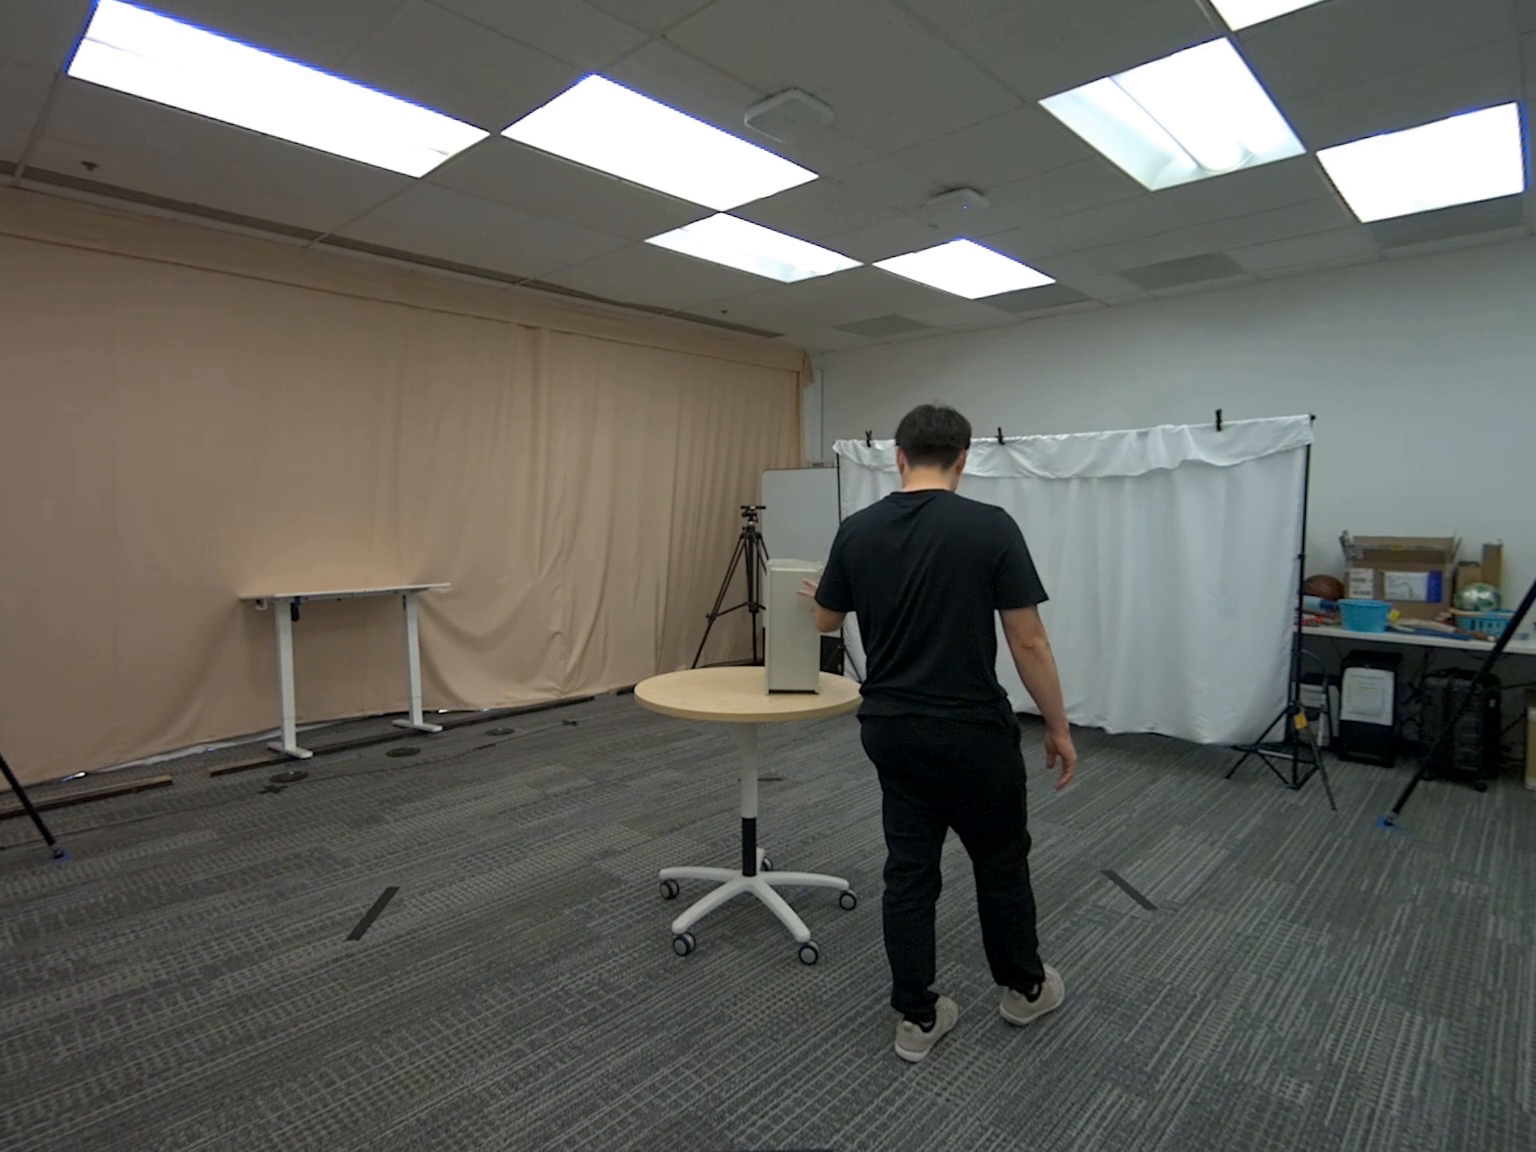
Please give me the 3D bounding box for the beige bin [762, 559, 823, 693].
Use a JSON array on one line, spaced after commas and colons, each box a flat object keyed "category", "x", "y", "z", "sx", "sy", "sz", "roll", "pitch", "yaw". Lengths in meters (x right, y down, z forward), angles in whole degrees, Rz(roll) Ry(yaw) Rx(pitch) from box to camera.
[{"category": "beige bin", "x": 0.088, "y": 0.161, "z": 2.862, "sx": 0.189, "sy": 0.422, "sz": 0.377, "roll": 1, "pitch": 3, "yaw": 0}]
